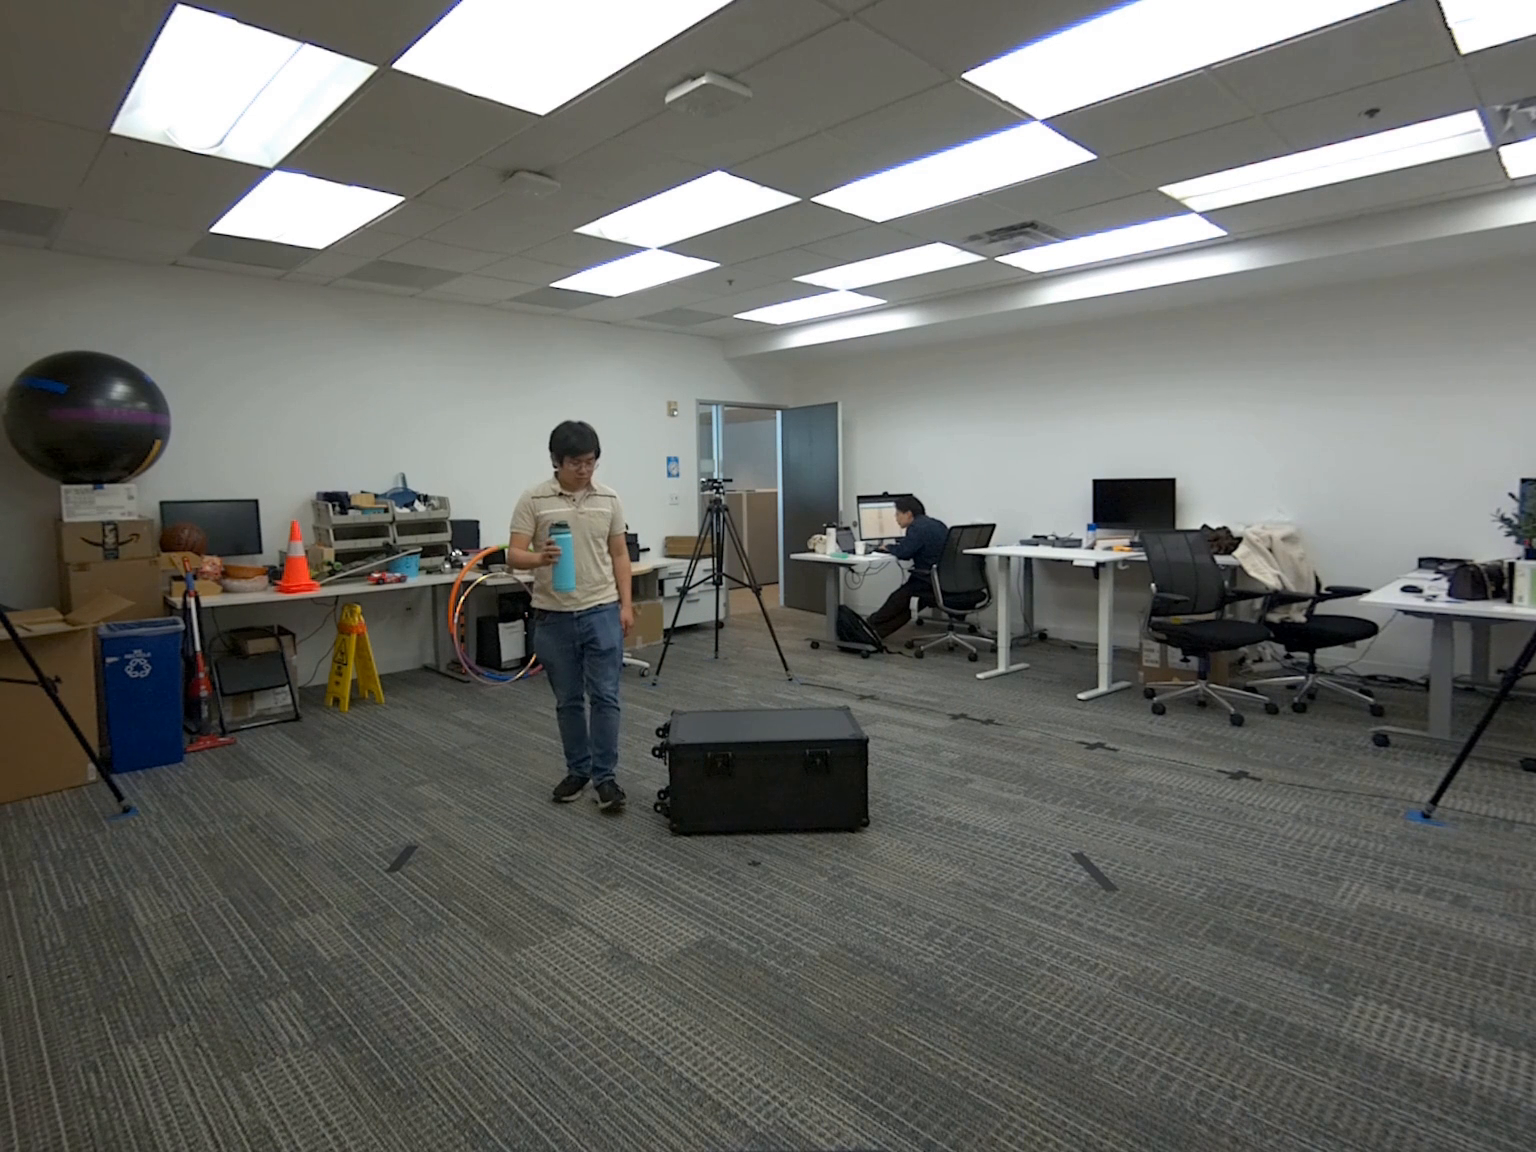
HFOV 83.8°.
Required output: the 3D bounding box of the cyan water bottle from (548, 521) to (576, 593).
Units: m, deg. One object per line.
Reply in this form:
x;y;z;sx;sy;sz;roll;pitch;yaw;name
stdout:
-0.828;-0.082;3.428;0.092;0.282;0.093;-4;4;-1;cyan water bottle
